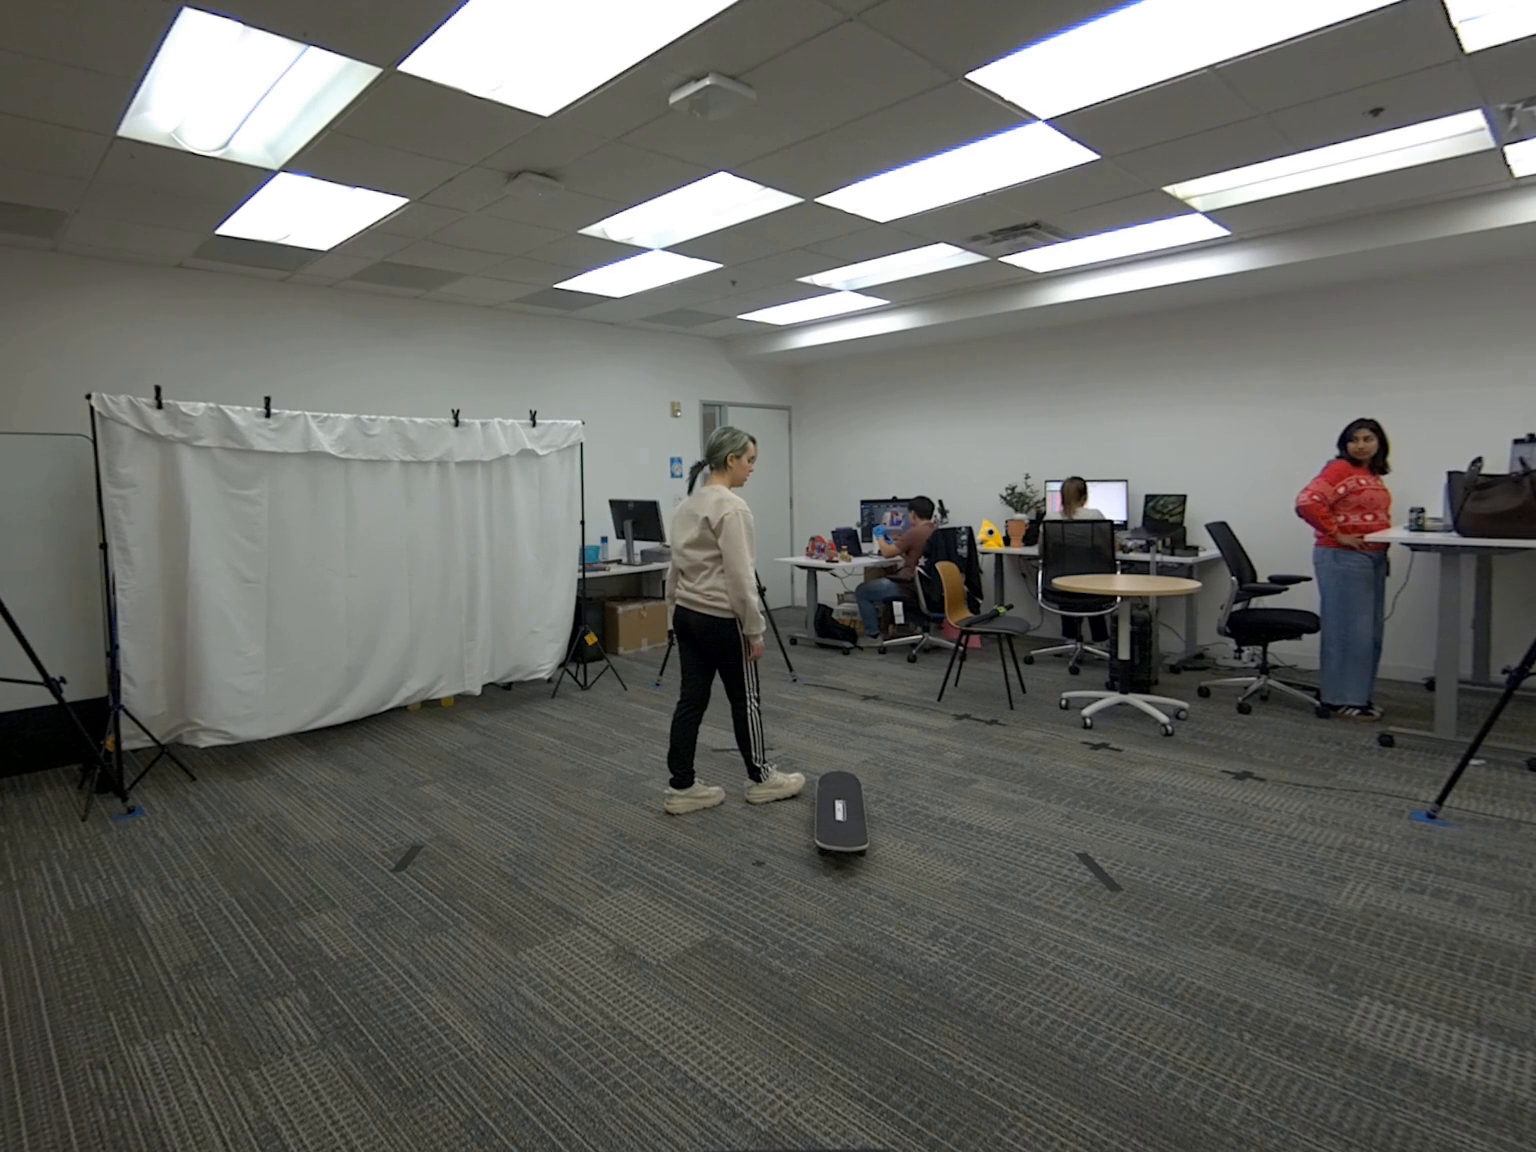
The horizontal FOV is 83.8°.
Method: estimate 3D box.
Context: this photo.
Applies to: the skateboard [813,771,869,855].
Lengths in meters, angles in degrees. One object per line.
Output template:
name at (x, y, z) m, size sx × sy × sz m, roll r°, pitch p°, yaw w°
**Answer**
skateboard at (0.291, 0.953, 3.374) m, size 0.194 × 0.110 × 0.784 m, roll 0°, pitch 6°, yaw 4°
